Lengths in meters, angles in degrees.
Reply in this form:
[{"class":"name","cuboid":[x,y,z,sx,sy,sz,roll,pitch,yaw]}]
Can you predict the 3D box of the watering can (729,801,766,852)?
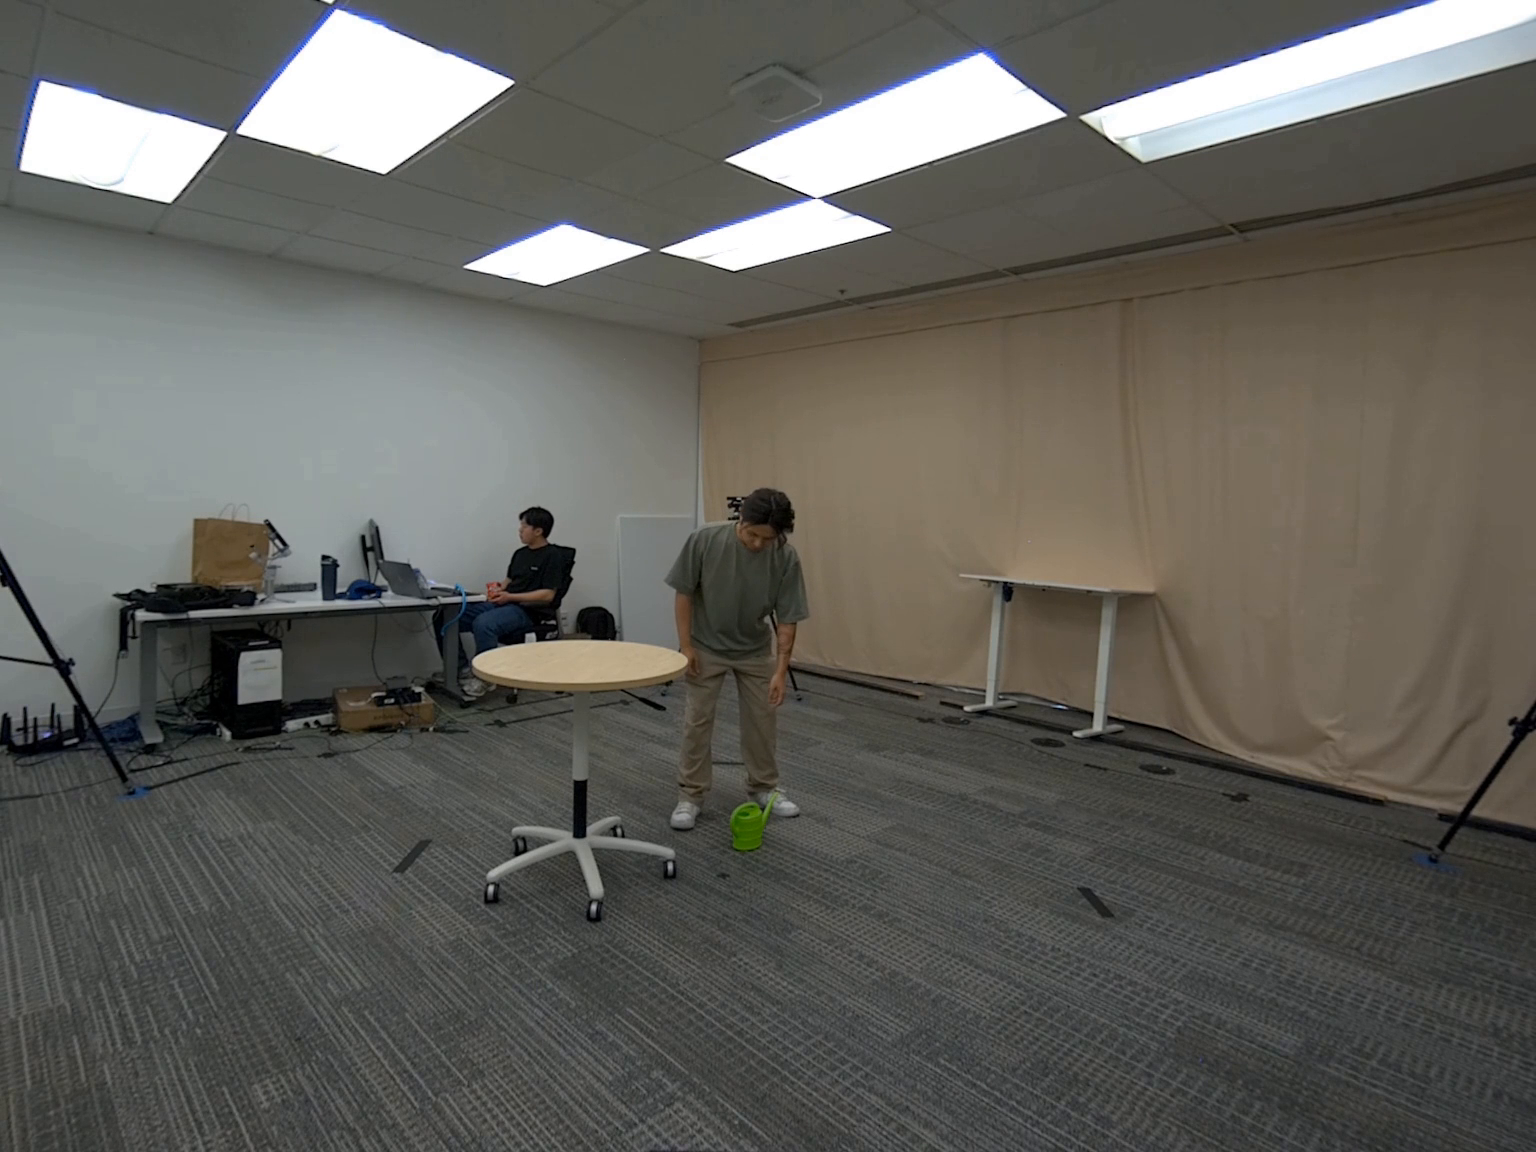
[{"class":"watering can","cuboid":[-0.059,0.991,3.391,0.272,0.176,0.100,-3,7,-34]}]
